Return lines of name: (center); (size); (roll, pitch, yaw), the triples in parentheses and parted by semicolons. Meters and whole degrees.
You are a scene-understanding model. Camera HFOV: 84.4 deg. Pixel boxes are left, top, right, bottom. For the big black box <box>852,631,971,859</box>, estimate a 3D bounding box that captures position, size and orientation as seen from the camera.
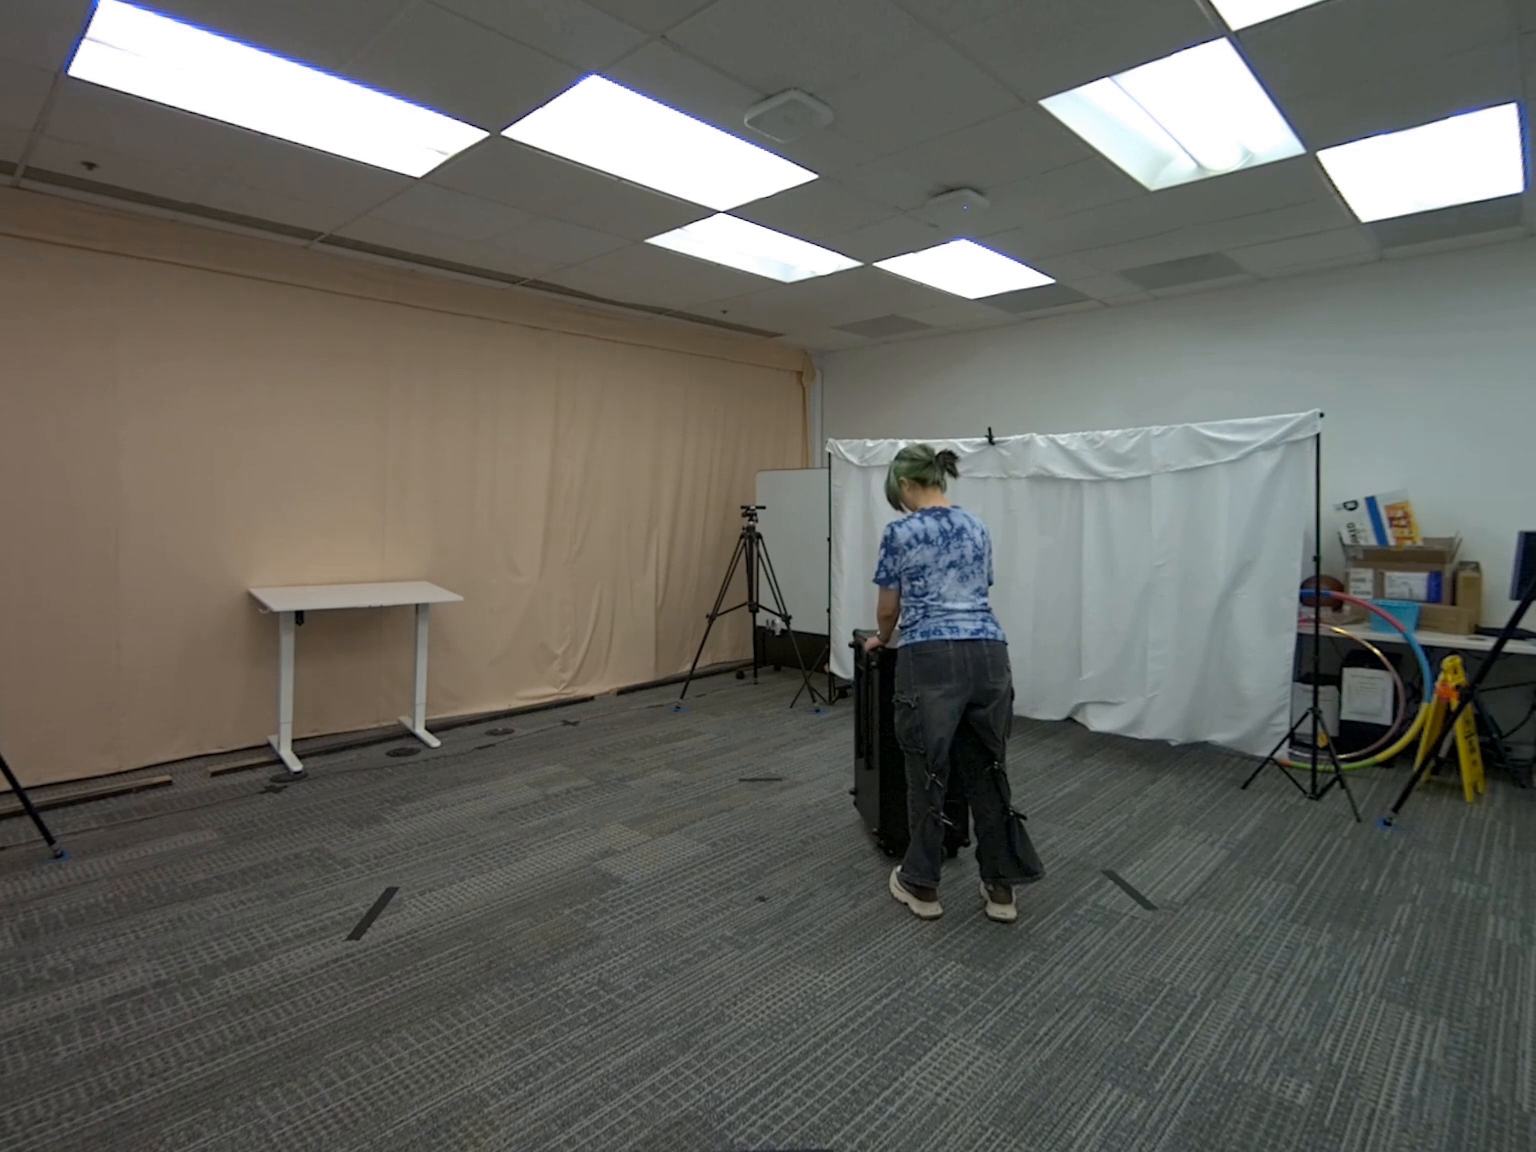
big black box: (0.573, 0.682, 3.468); (0.395, 0.859, 0.524); (-2, 3, -4)
